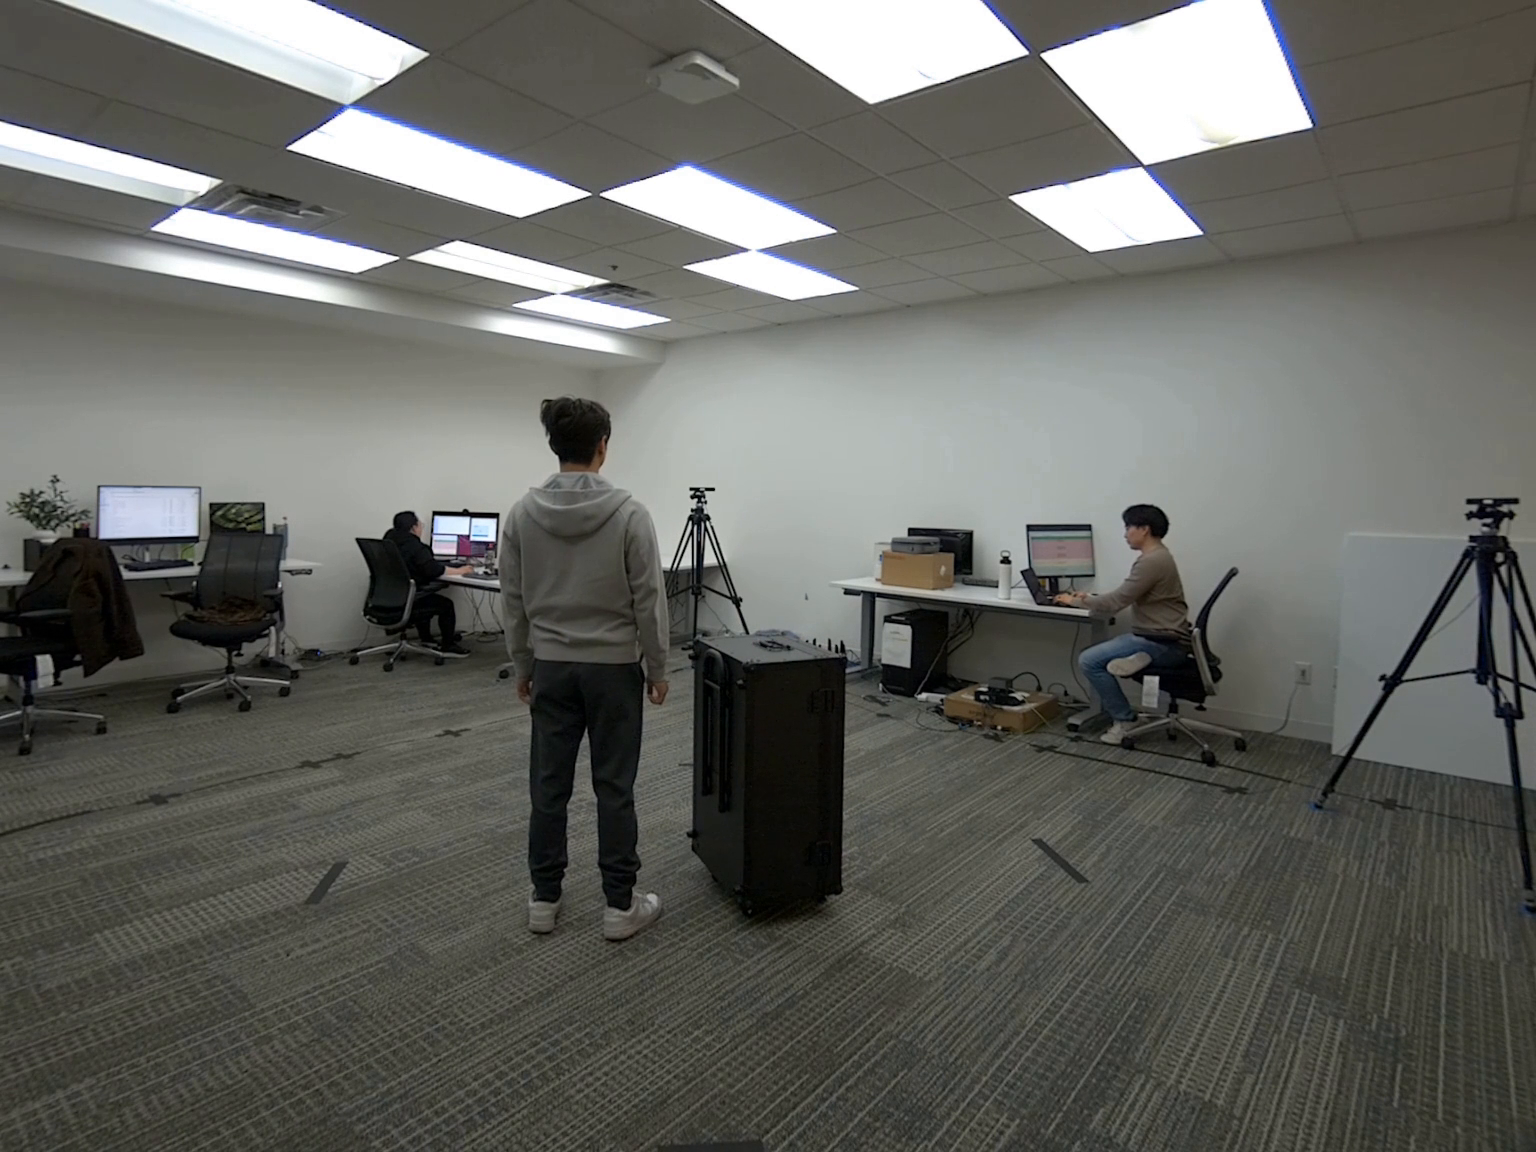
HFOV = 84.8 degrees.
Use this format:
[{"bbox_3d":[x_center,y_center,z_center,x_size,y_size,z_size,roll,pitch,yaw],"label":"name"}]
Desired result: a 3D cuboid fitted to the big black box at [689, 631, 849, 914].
[{"bbox_3d":[-0.025,0.661,2.919,0.387,0.858,0.535,-2,5,-24],"label":"big black box"}]
